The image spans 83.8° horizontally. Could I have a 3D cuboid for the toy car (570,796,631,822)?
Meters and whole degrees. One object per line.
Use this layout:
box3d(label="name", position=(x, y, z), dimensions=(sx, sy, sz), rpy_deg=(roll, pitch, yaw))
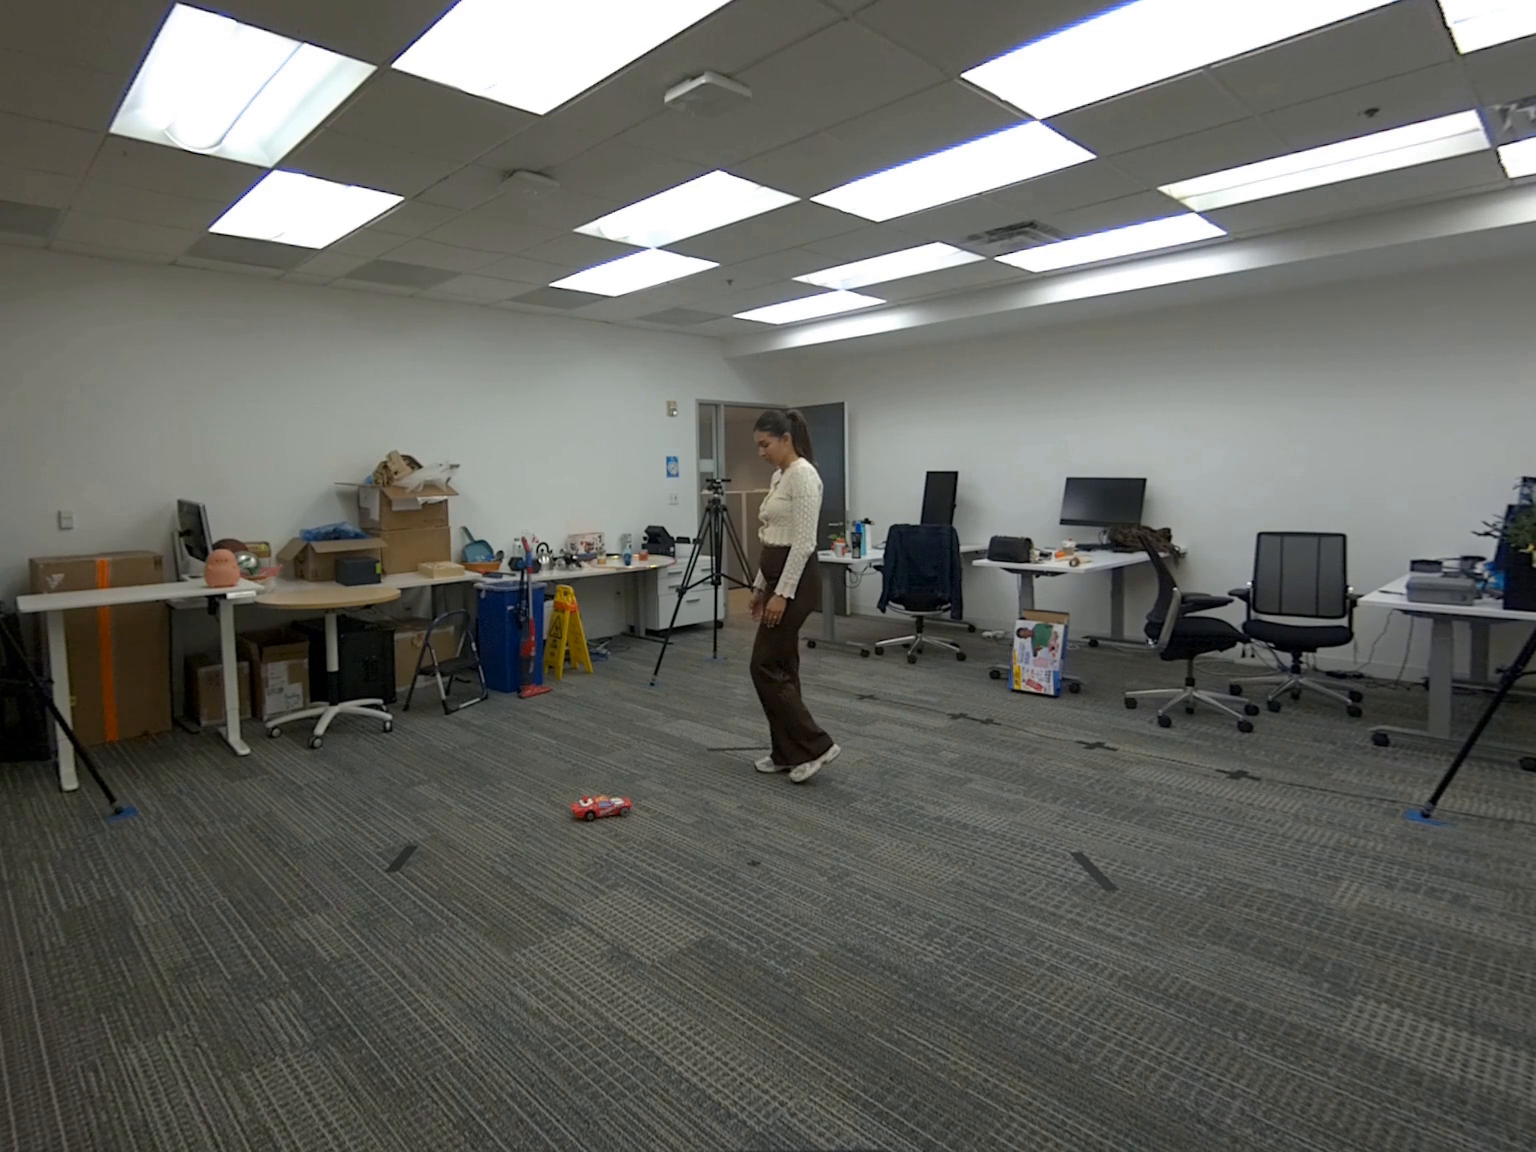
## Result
box3d(label="toy car", position=(-0.707, 0.972, 3.583), dimensions=(0.249, 0.083, 0.133), rpy_deg=(9, 1, -20))
